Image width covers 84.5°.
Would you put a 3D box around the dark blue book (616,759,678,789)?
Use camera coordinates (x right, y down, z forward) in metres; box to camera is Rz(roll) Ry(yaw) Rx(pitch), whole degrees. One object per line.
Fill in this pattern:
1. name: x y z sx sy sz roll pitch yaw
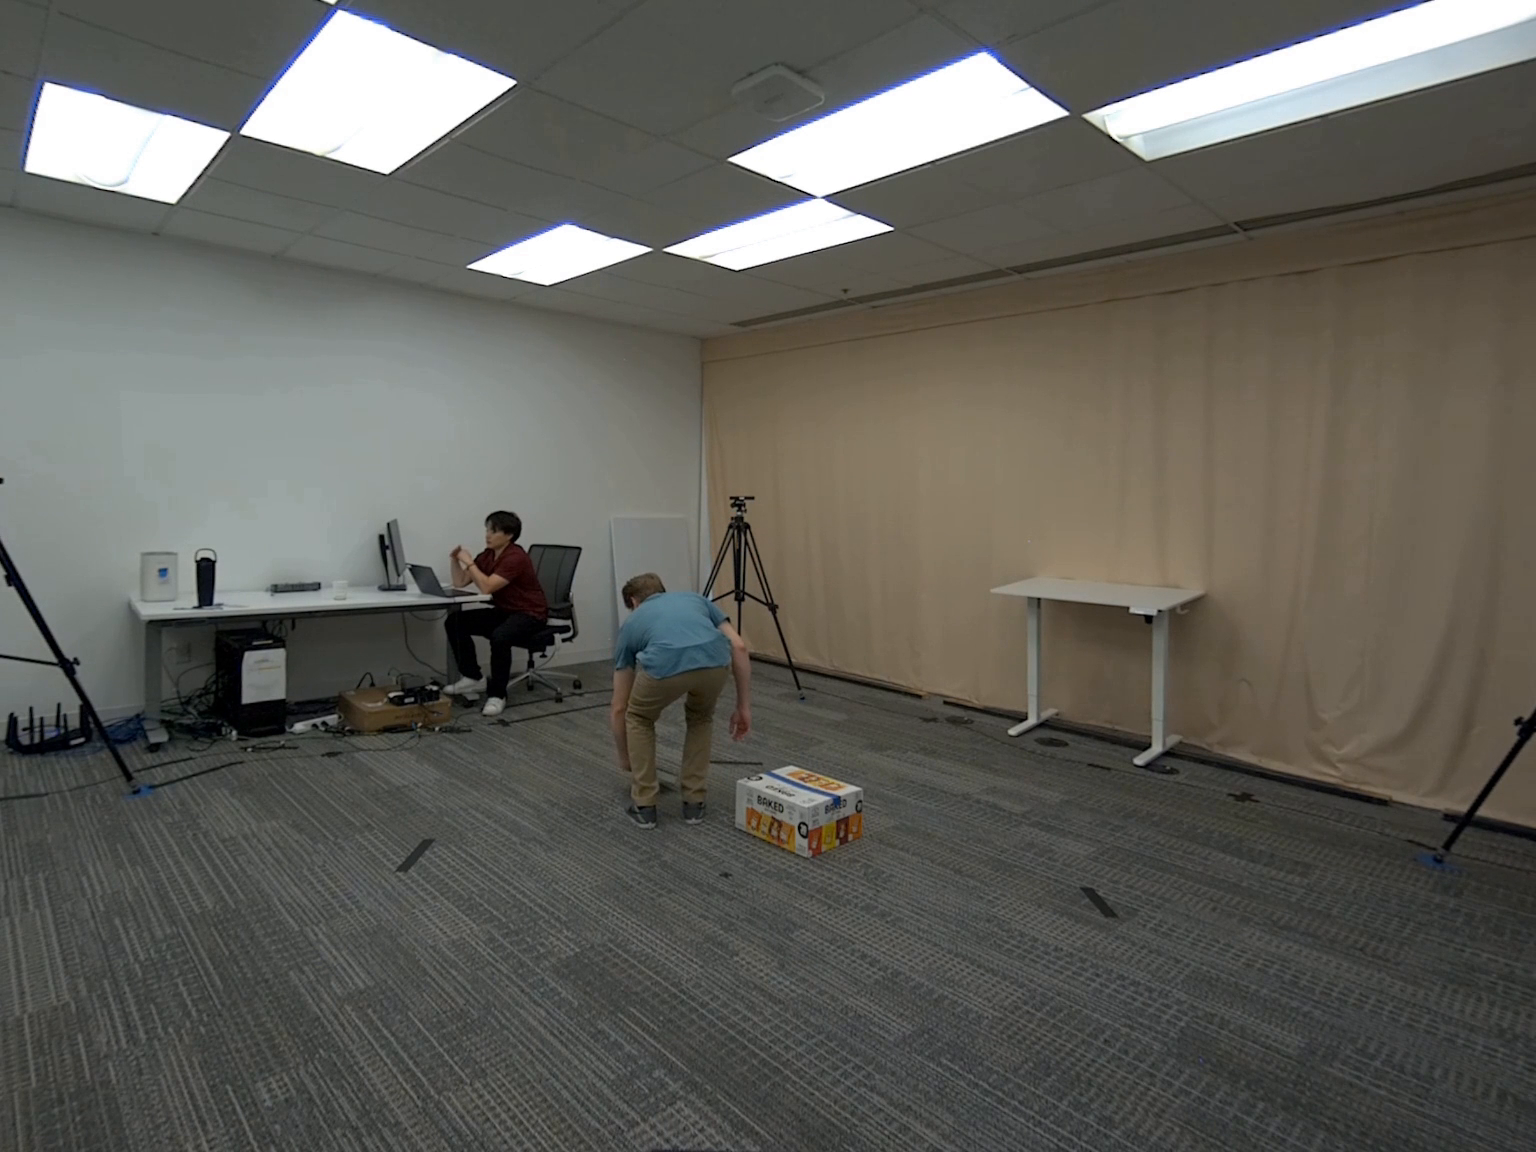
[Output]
1. dark blue book: -0.573 0.922 3.998 0.238 0.045 0.167 31 -15 -35
